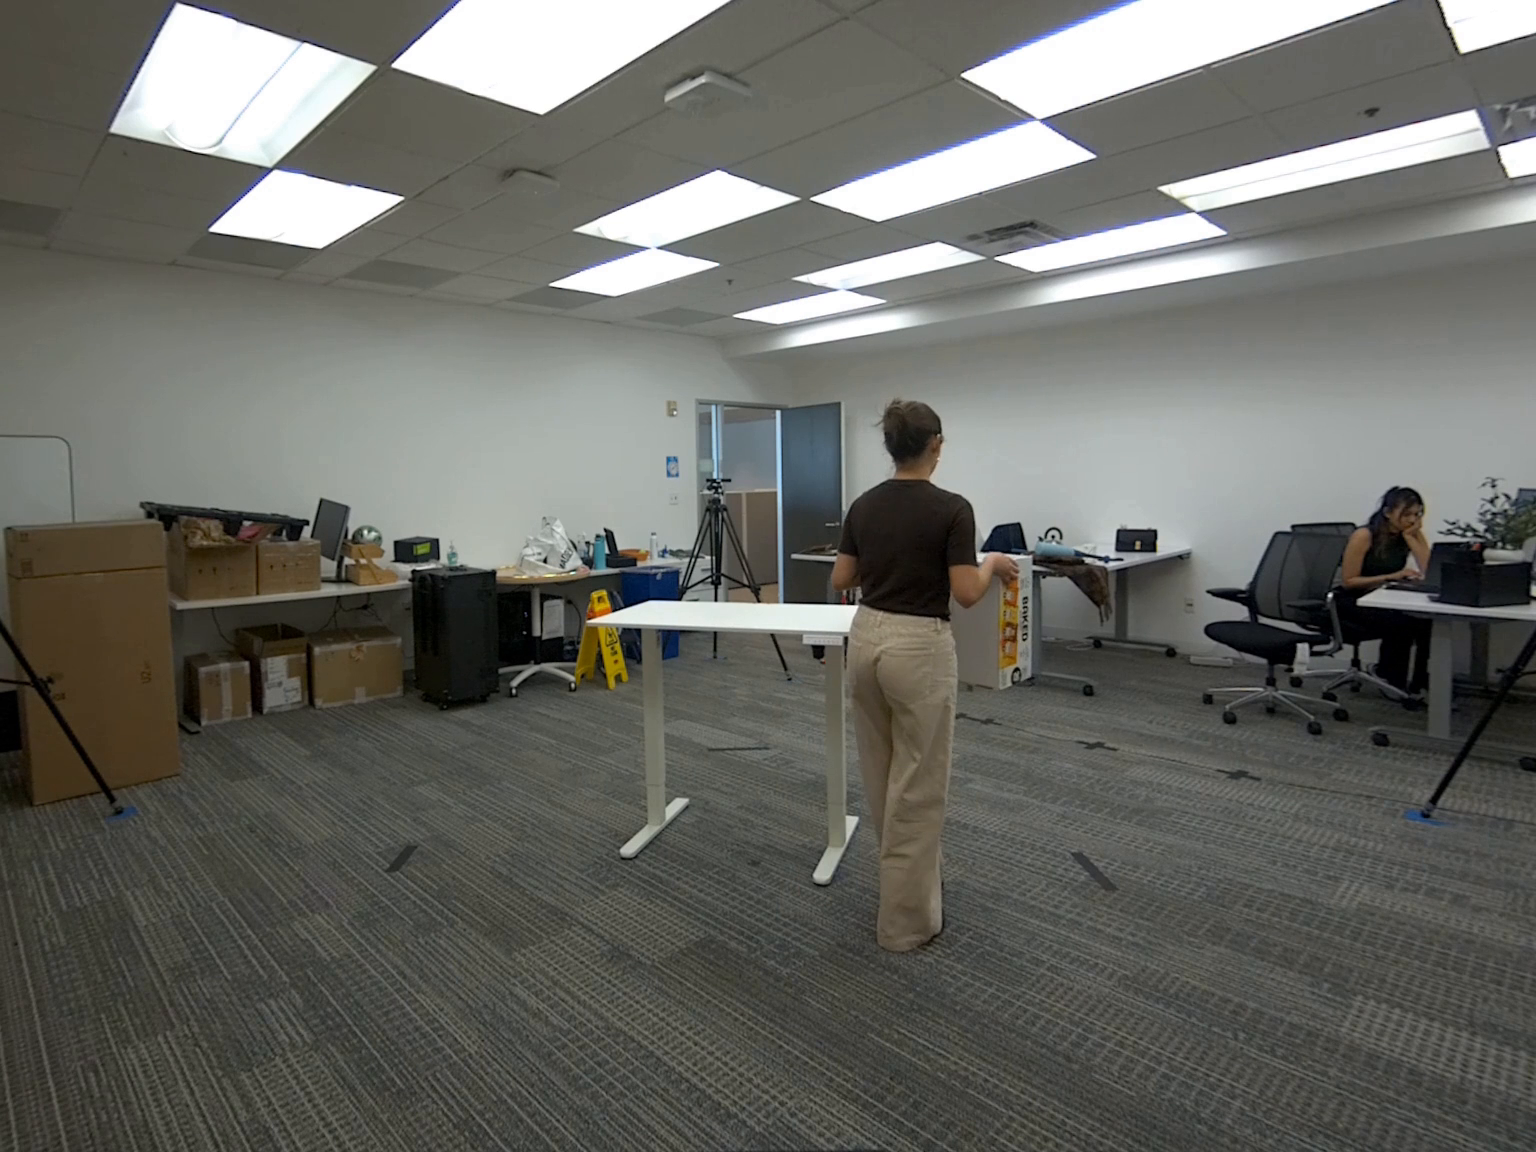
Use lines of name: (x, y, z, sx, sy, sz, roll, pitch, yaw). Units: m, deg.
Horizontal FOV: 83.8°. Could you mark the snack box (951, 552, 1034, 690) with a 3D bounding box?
snack box: (0.671, 0.132, 2.839, 0.351, 0.403, 0.200, 6, 10, 45)
